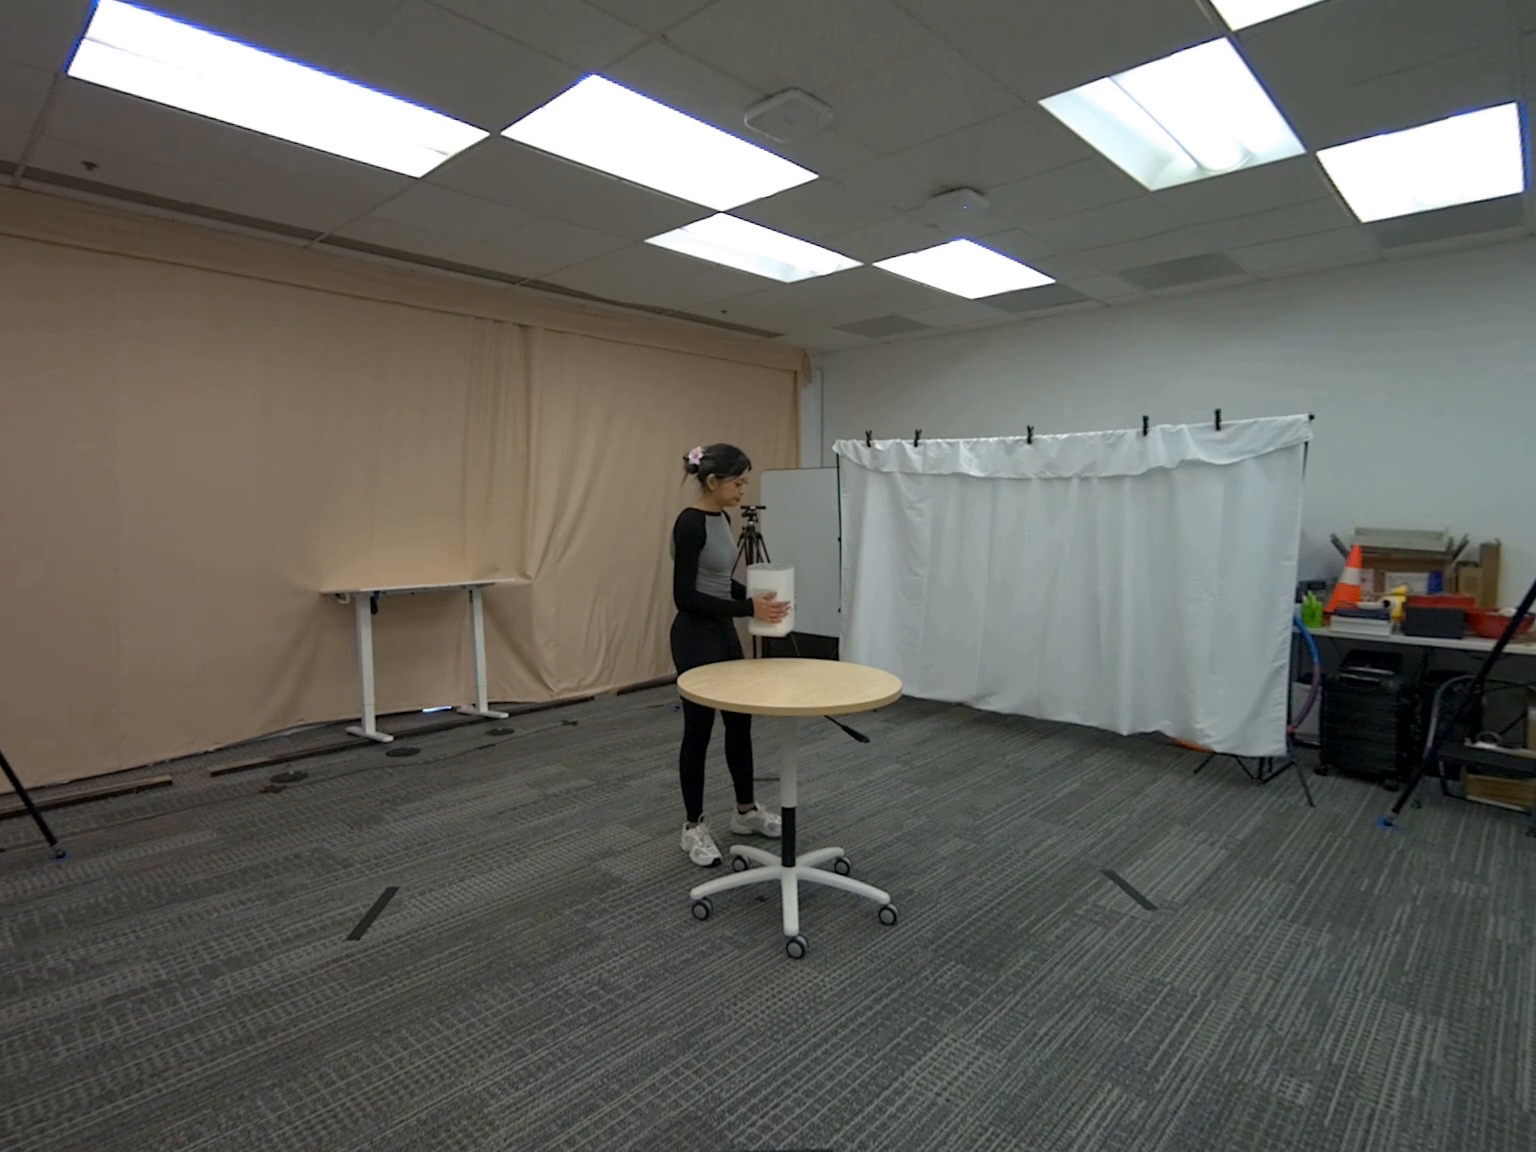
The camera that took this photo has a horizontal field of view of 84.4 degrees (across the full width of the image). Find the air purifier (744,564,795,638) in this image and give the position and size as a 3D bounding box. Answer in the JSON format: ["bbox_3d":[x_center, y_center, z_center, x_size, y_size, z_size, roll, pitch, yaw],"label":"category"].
[{"bbox_3d":[0.012,0.092,3.281,0.174,0.264,0.169,1,6,15],"label":"air purifier"}]
